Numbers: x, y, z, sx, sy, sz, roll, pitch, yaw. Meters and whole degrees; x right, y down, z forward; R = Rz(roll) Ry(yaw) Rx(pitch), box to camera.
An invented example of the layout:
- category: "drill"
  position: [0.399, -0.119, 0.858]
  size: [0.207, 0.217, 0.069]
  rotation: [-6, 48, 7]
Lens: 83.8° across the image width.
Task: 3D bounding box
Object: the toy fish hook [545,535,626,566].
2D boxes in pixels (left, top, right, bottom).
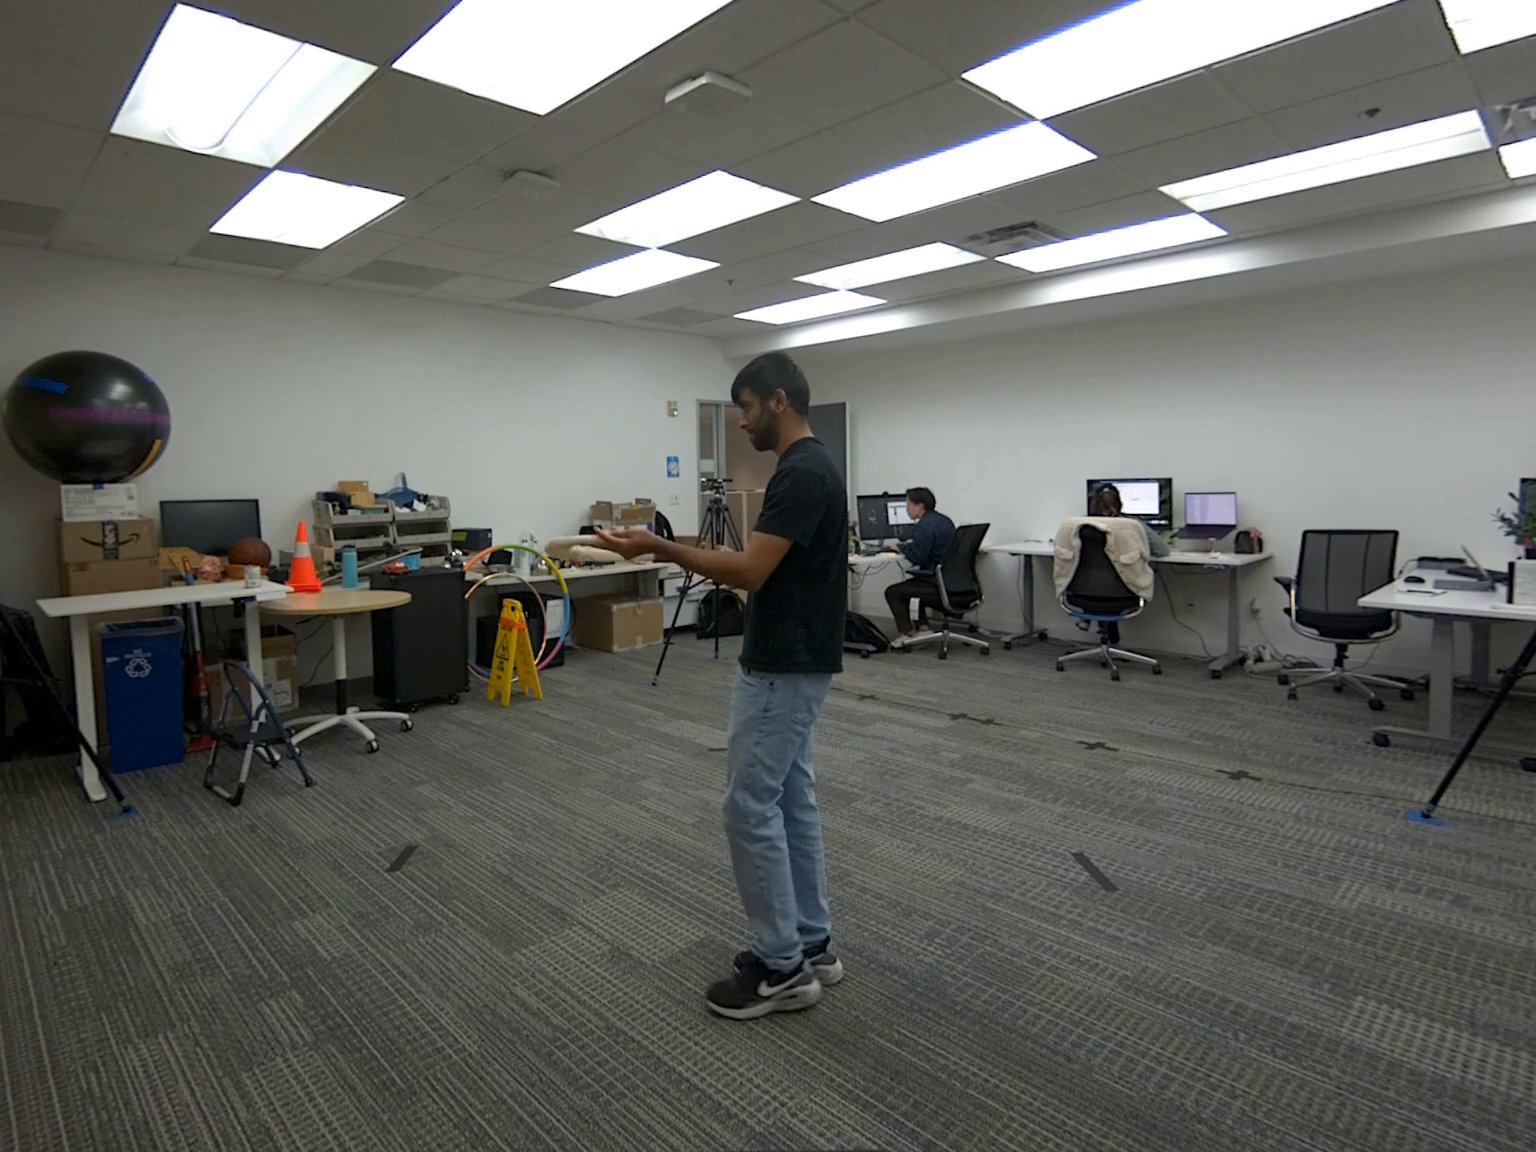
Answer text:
- category: "toy fish hook"
  position: [-0.330, -0.069, 2.312]
  size: [0.493, 0.049, 0.228]
  rotation: [3, -10, -31]
